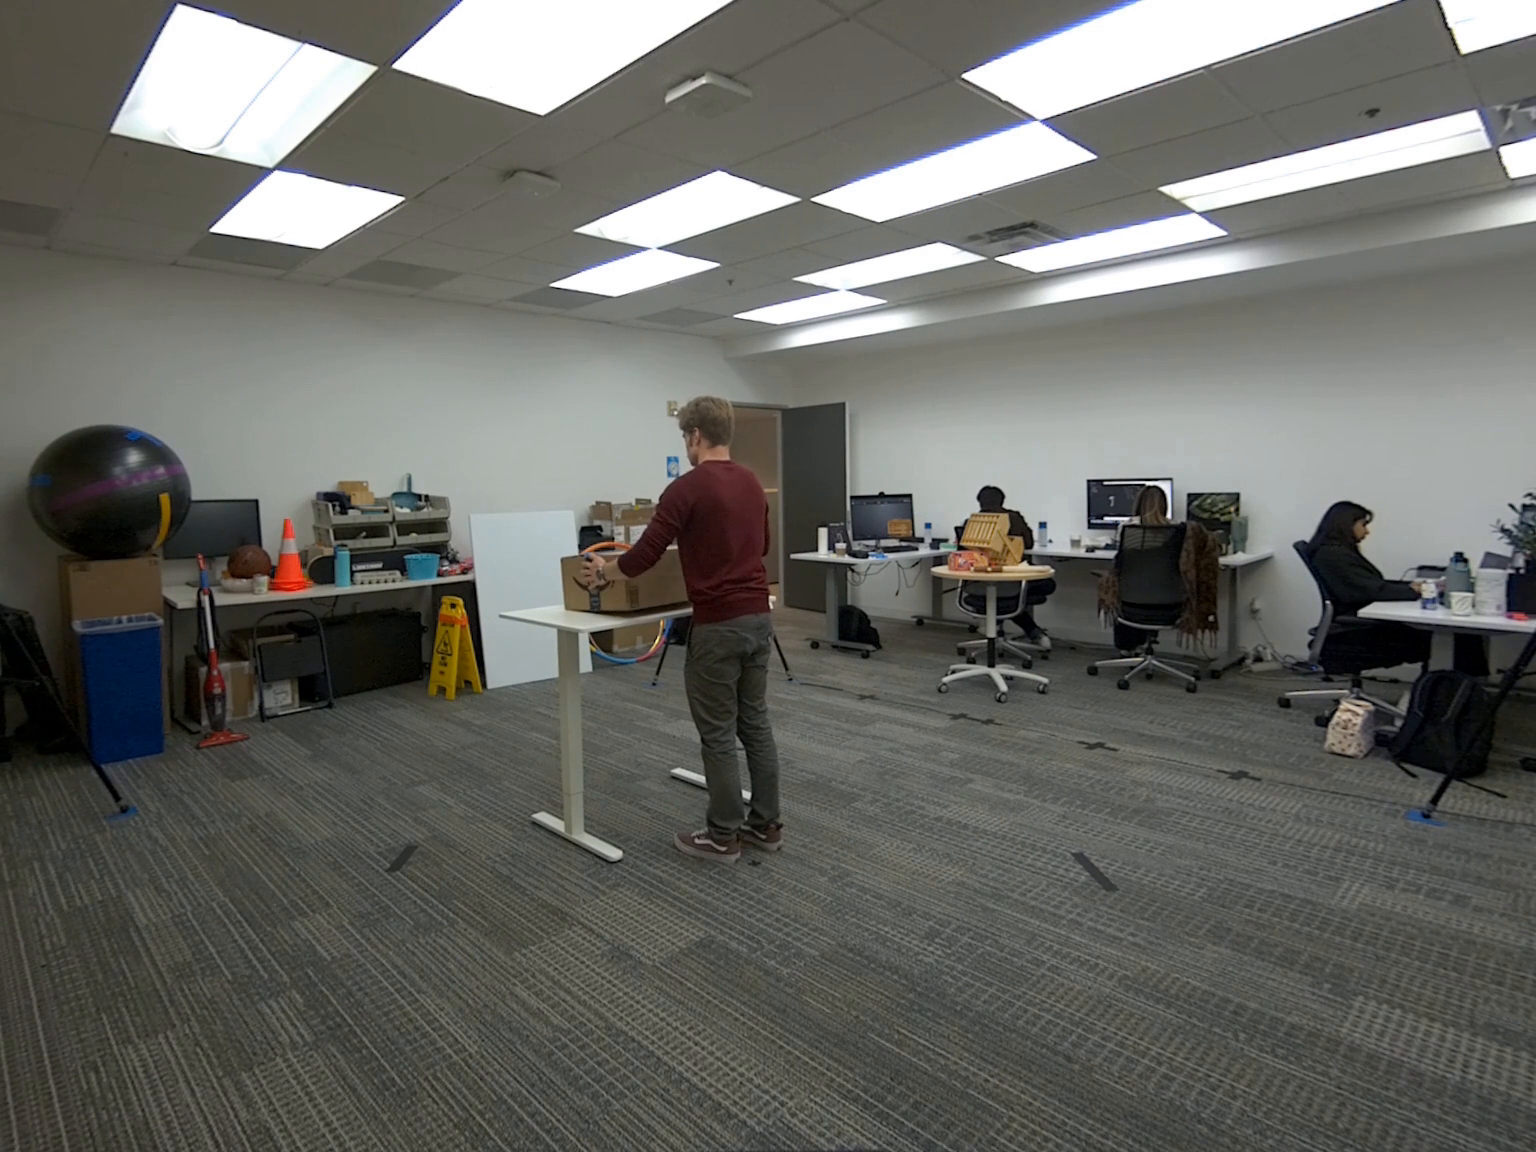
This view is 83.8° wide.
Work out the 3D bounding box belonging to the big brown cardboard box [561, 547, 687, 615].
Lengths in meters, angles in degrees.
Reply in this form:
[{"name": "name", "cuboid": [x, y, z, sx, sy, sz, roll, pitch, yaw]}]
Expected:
[{"name": "big brown cardboard box", "cuboid": [-0.503, -0.007, 3.531, 0.429, 0.233, 0.574, -3, 3, 43]}]
